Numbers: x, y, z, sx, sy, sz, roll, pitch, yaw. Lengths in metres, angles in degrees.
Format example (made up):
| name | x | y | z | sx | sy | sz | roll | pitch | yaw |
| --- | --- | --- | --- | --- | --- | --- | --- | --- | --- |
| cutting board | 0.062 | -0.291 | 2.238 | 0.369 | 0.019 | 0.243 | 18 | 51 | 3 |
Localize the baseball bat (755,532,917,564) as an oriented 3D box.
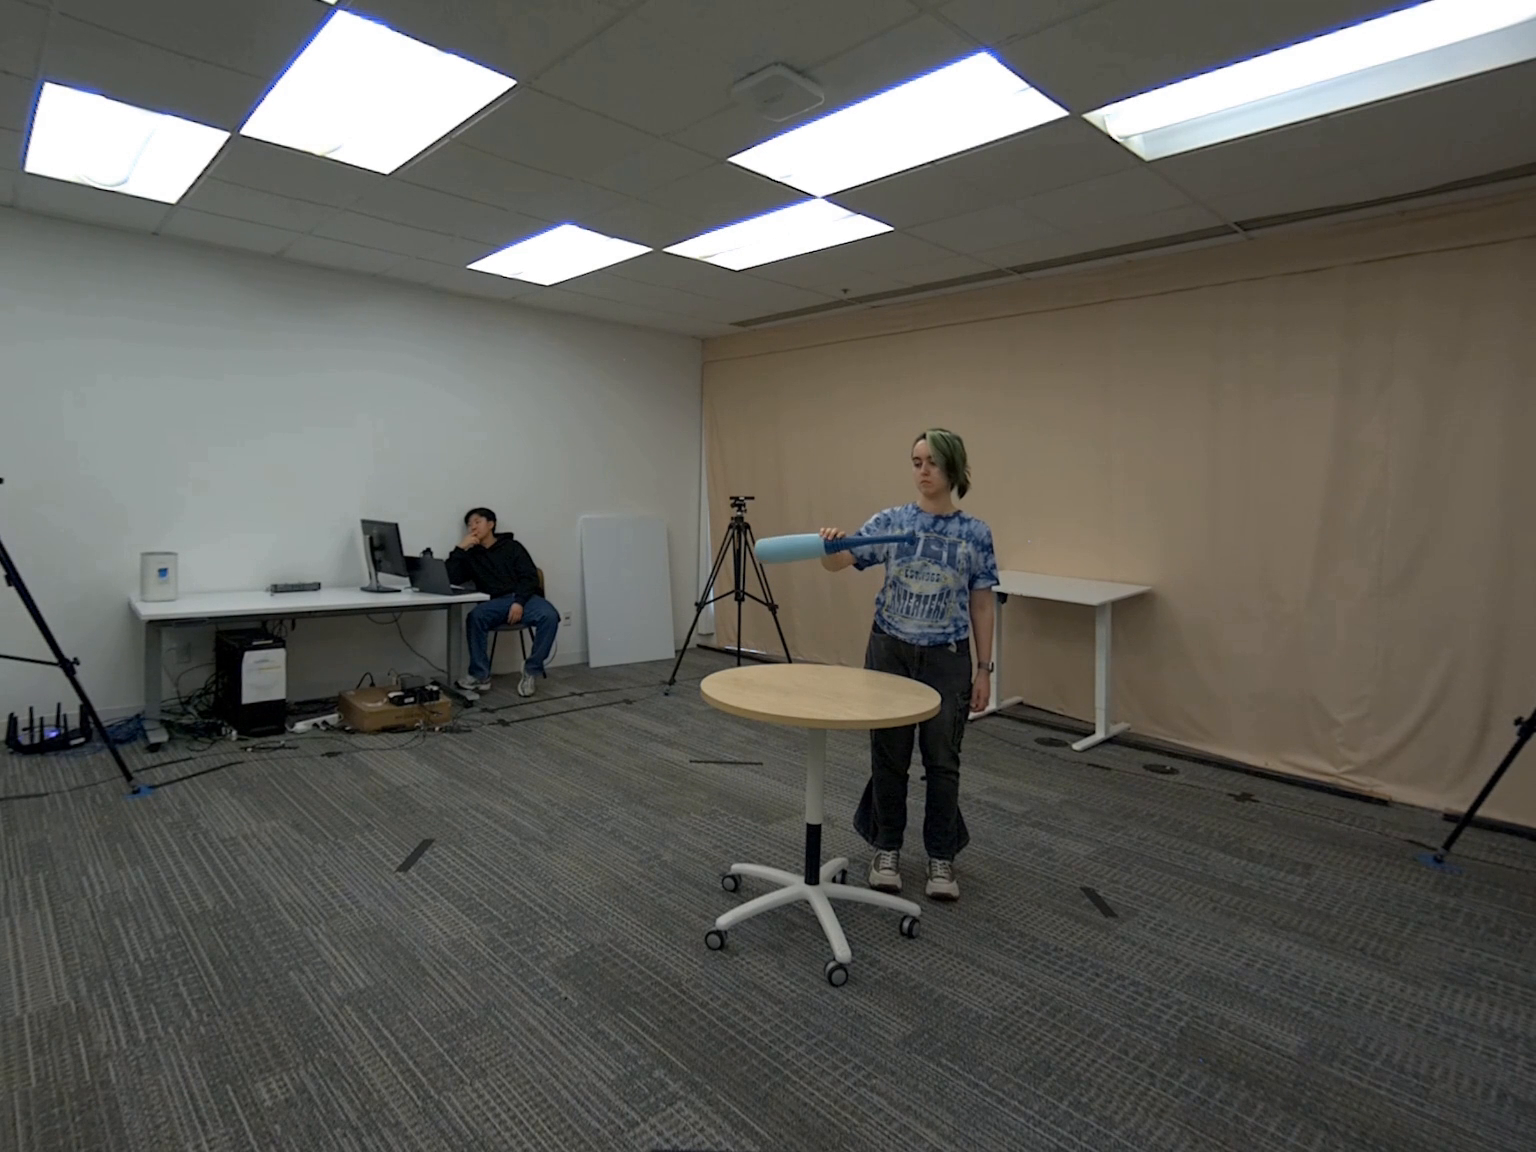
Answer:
| name | x | y | z | sx | sy | sz | roll | pitch | yaw |
| --- | --- | --- | --- | --- | --- | --- | --- | --- | --- |
| baseball bat | 0.209 | -0.104 | 2.760 | 0.551 | 0.089 | 0.088 | -4 | 2 | 20 |
